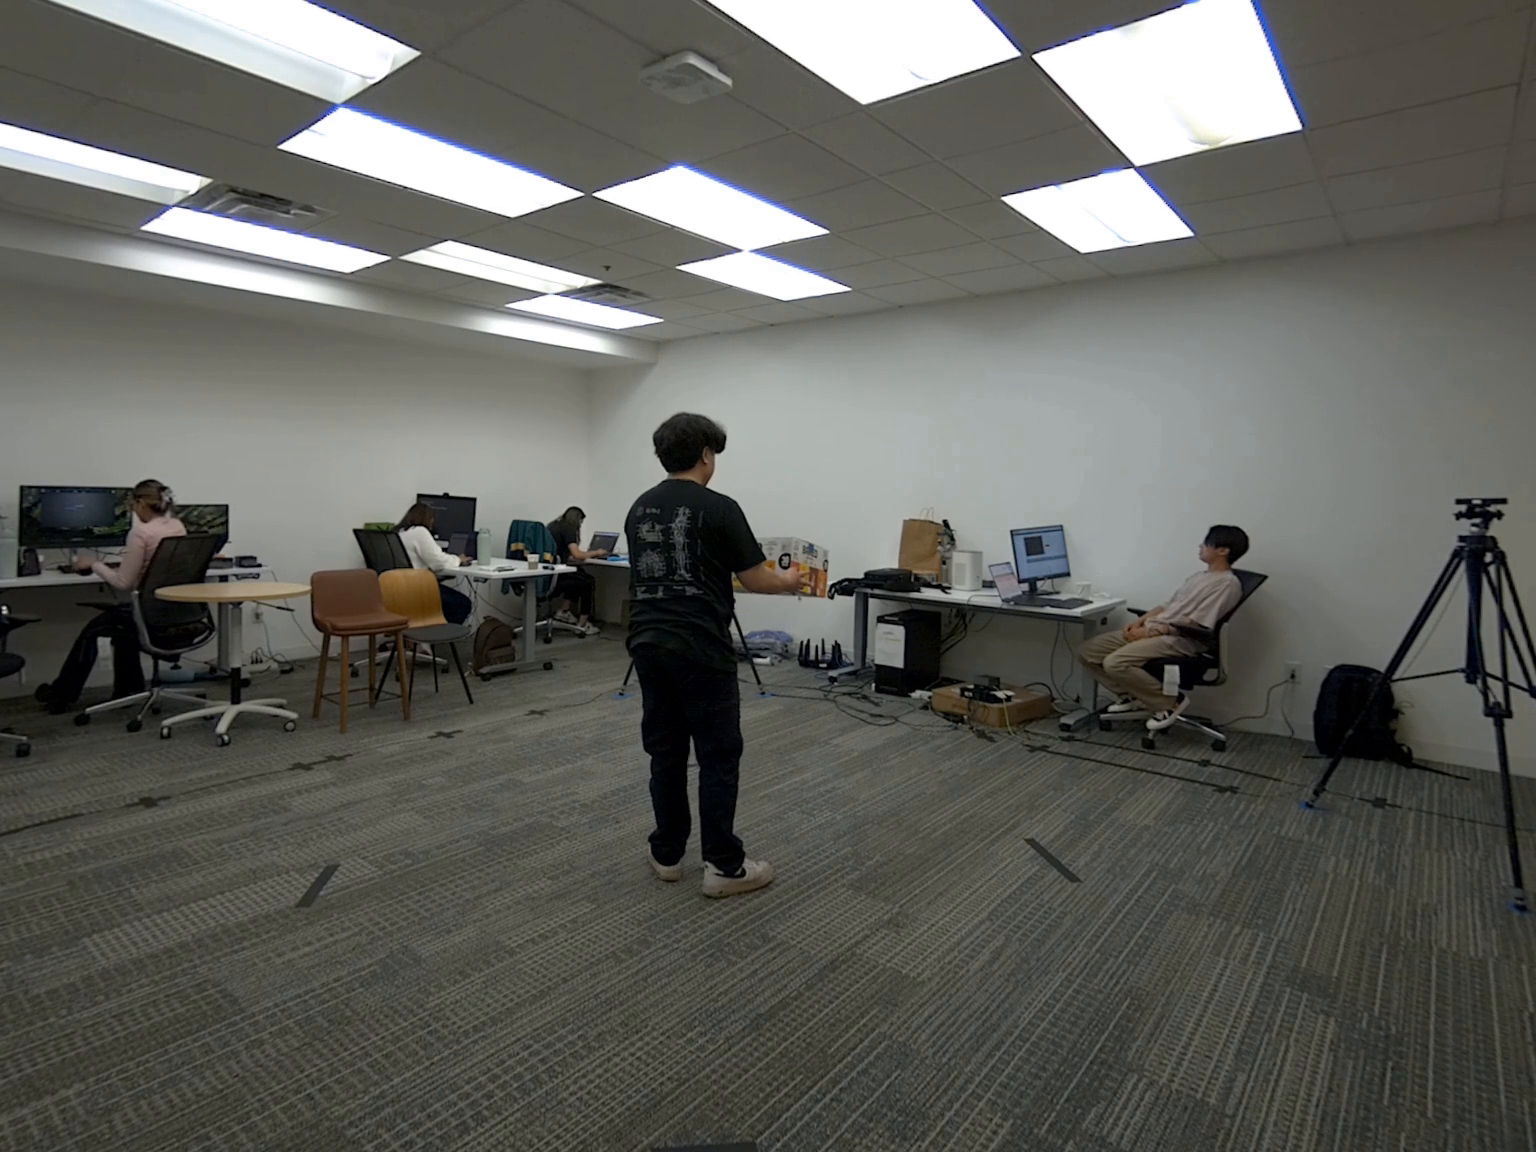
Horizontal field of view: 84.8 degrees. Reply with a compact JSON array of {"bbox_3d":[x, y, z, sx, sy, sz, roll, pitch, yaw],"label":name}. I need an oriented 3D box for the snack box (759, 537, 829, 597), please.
[{"bbox_3d":[-0.019,-0.033,3.502,0.417,0.207,0.328,1,-8,31],"label":"snack box"}]
